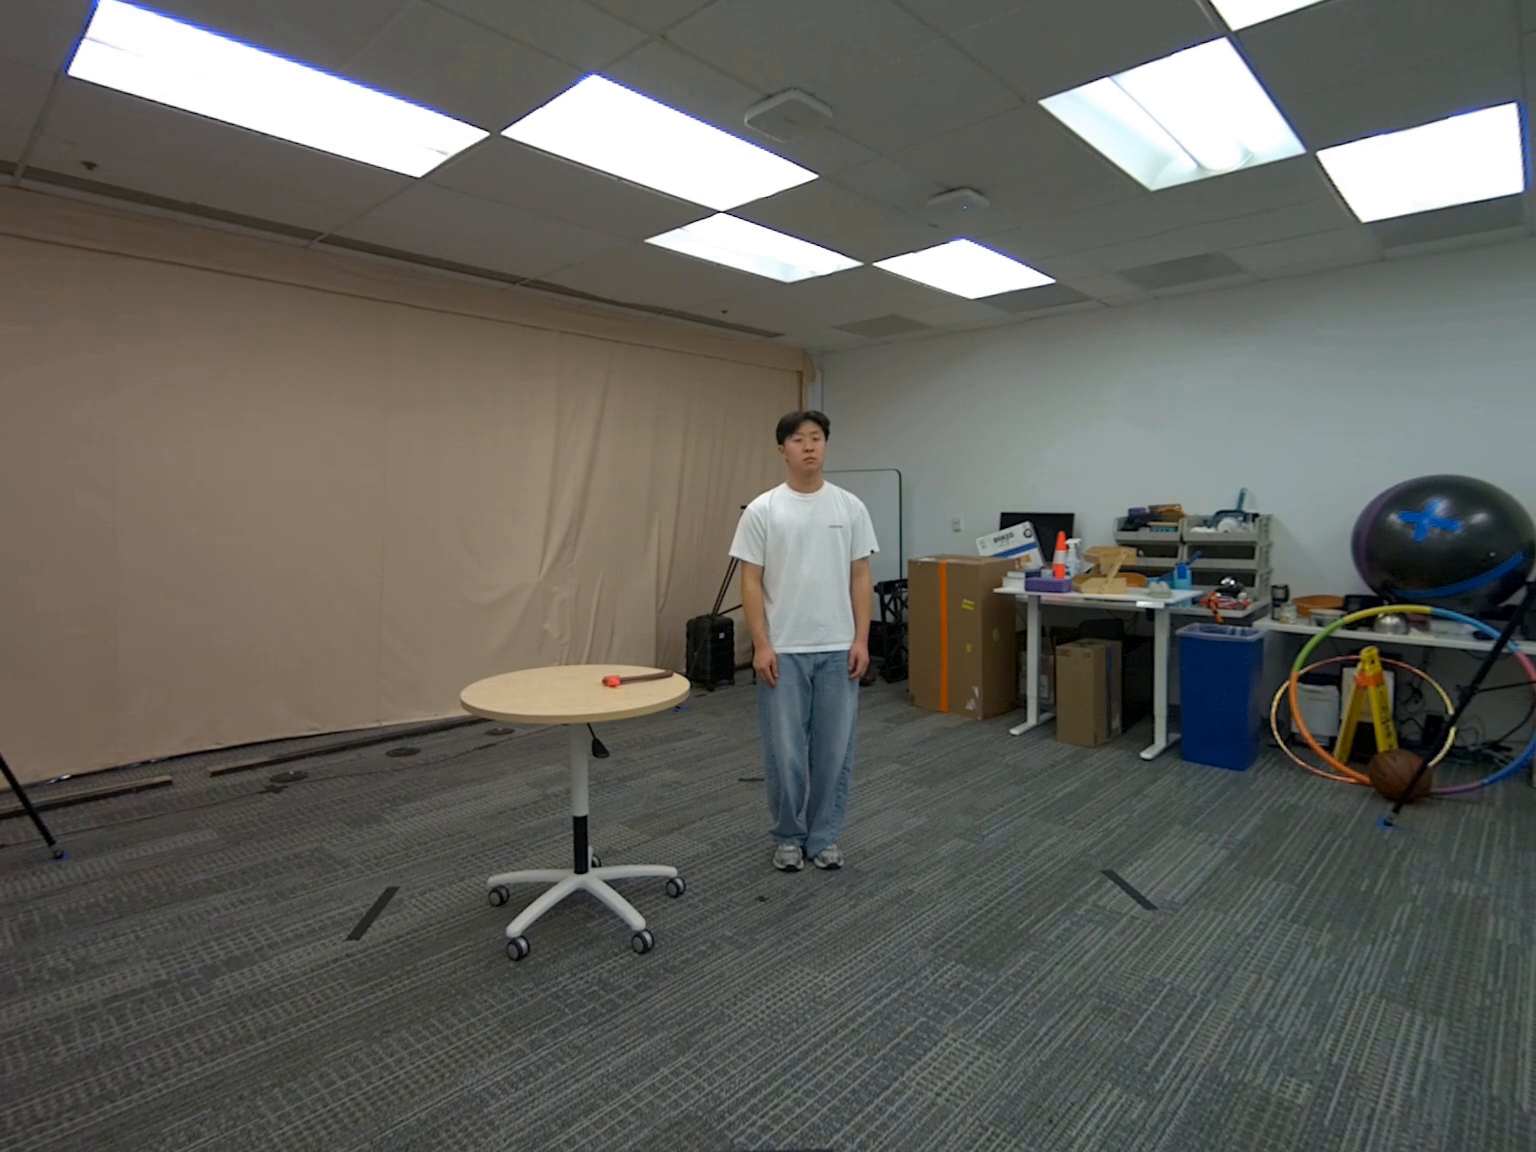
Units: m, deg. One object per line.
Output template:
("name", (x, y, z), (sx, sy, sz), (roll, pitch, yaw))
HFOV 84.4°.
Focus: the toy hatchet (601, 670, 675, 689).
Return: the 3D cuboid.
("toy hatchet", (-0.475, 0.355, 2.950), (0.135, 0.029, 0.262), (-1, 2, 43))
